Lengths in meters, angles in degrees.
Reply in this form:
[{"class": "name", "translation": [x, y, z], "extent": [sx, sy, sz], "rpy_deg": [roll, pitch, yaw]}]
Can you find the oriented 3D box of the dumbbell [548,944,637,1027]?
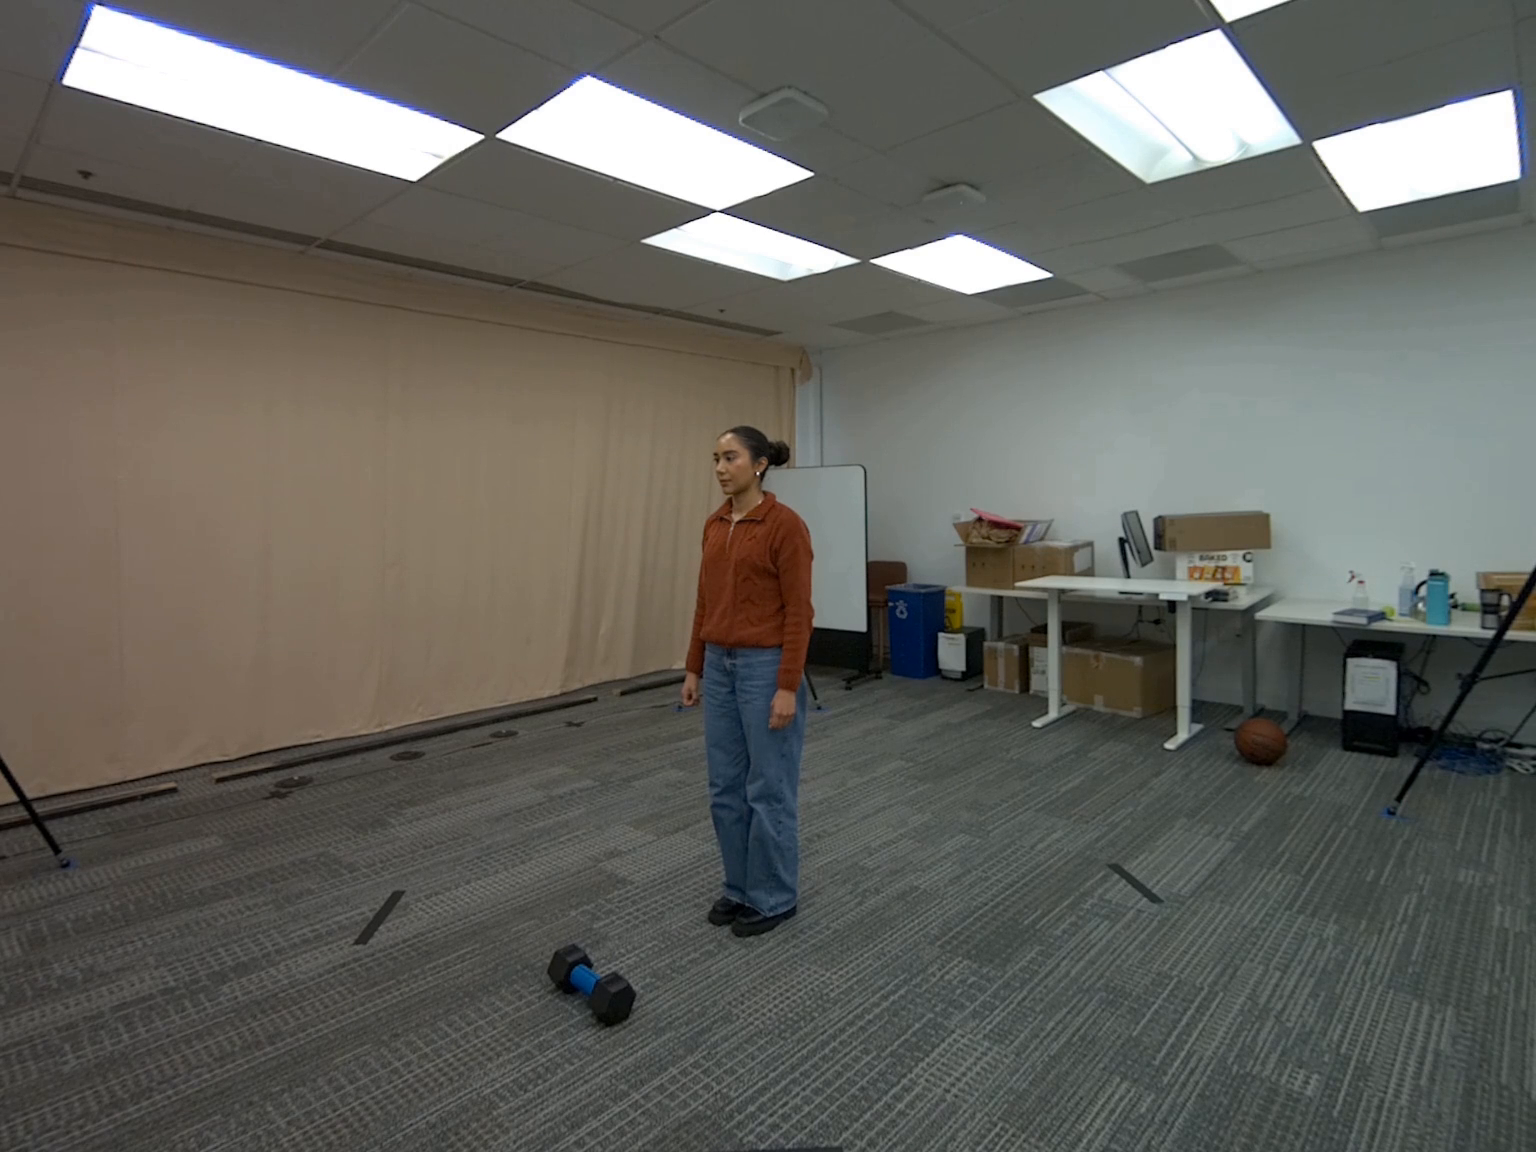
[{"class": "dumbbell", "translation": [-0.501, 1.152, 2.368], "extent": [0.303, 0.123, 0.105], "rpy_deg": [4, -24, 46]}]
